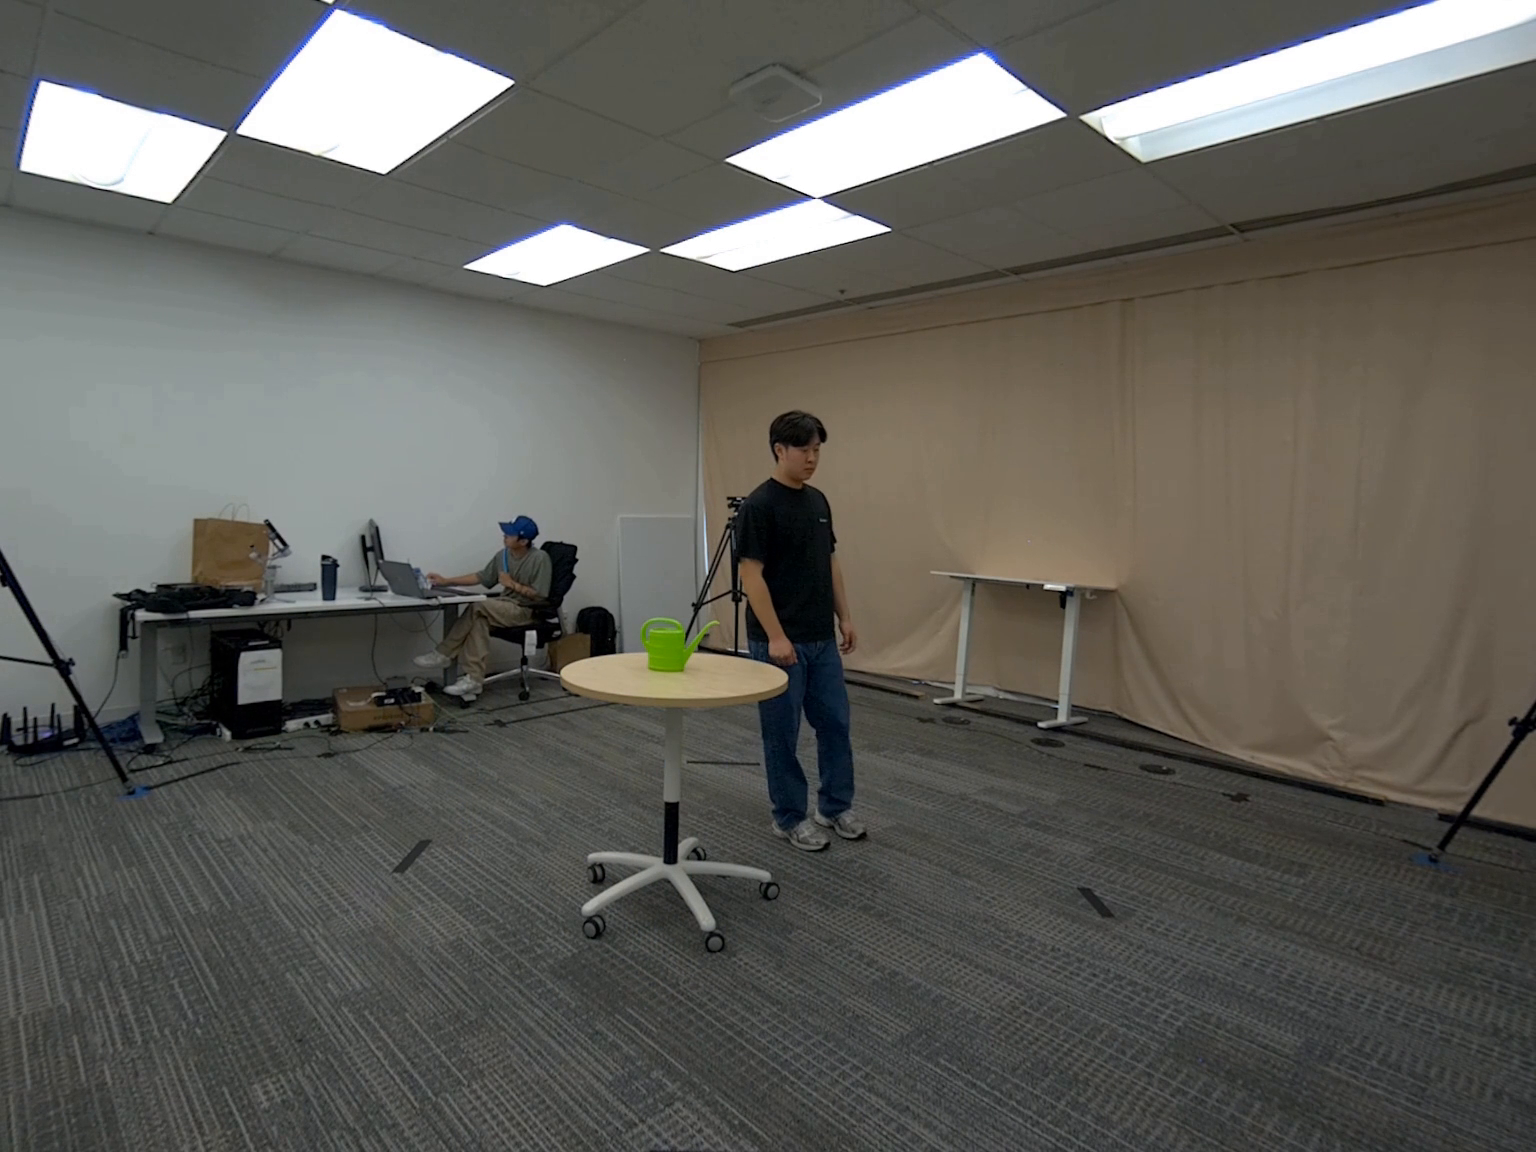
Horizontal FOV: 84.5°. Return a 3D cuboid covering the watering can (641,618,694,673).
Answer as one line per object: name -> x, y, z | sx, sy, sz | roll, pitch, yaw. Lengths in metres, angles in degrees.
watering can -> -0.318, 0.243, 2.877 | 0.284, 0.176, 0.096 | 1, 2, 28
